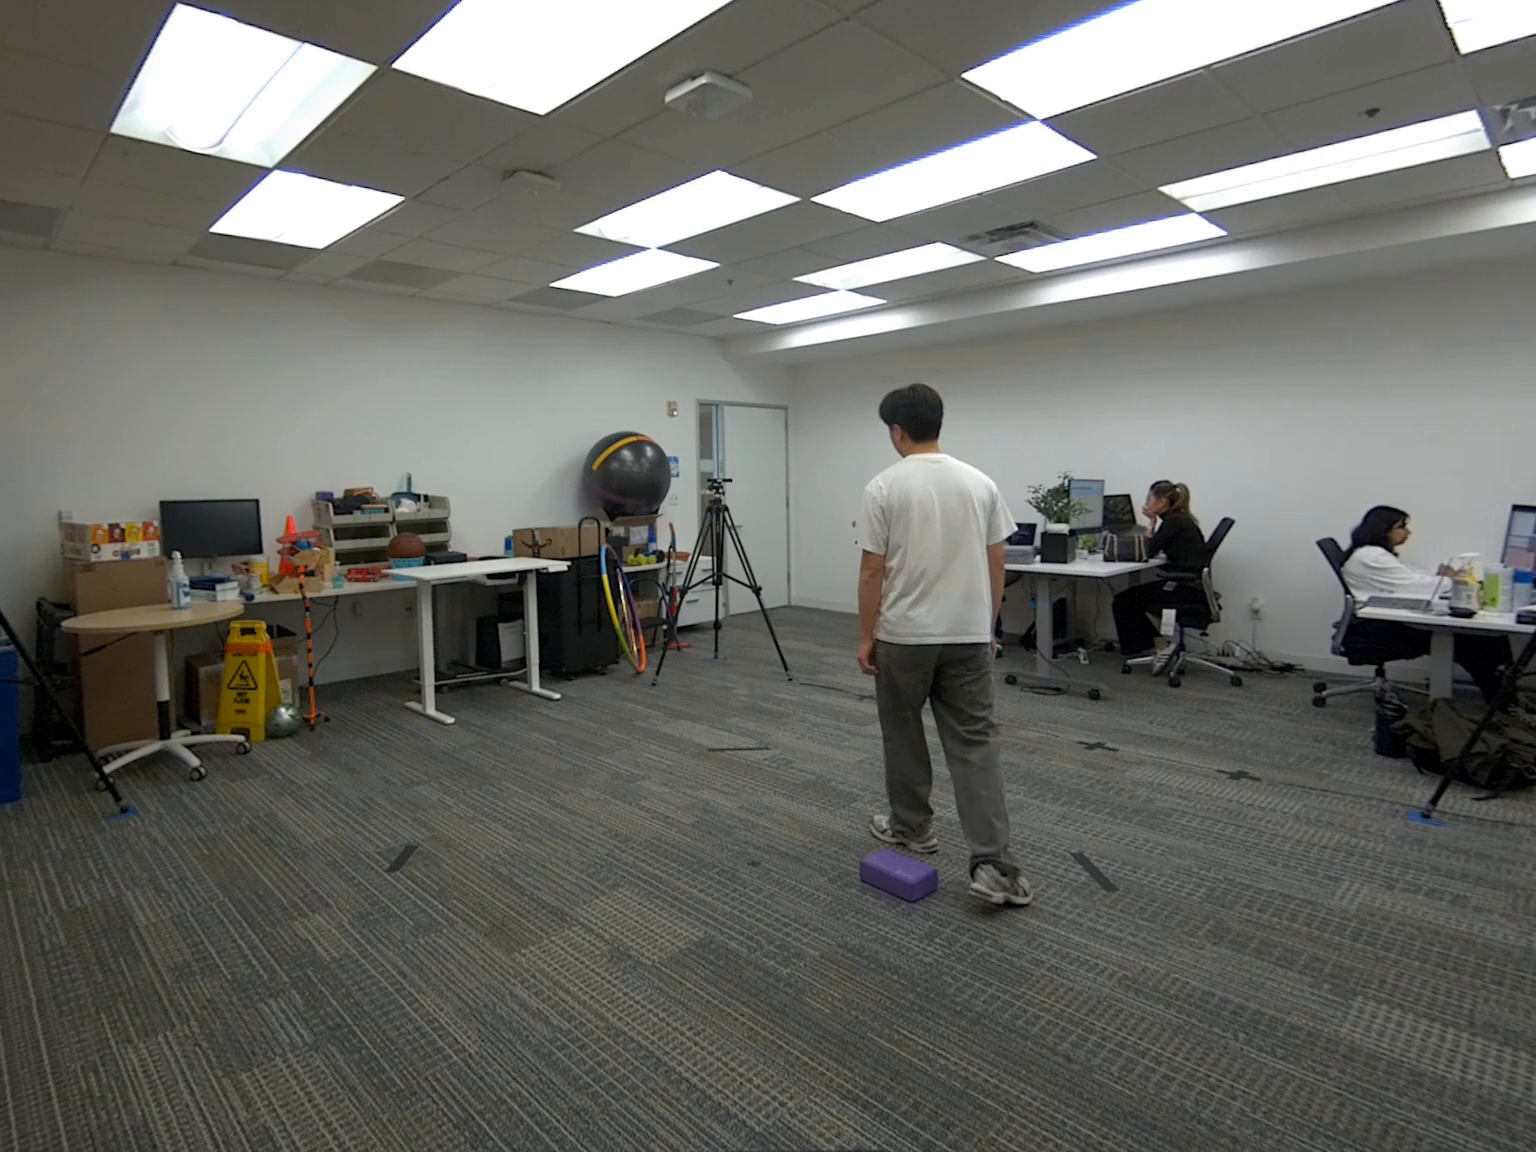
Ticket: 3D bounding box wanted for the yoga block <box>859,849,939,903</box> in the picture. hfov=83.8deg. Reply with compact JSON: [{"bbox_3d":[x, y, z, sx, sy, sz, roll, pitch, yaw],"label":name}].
[{"bbox_3d":[0.451,1.020,2.925,0.145,0.076,0.236,-6,8,-42],"label":"yoga block"}]
